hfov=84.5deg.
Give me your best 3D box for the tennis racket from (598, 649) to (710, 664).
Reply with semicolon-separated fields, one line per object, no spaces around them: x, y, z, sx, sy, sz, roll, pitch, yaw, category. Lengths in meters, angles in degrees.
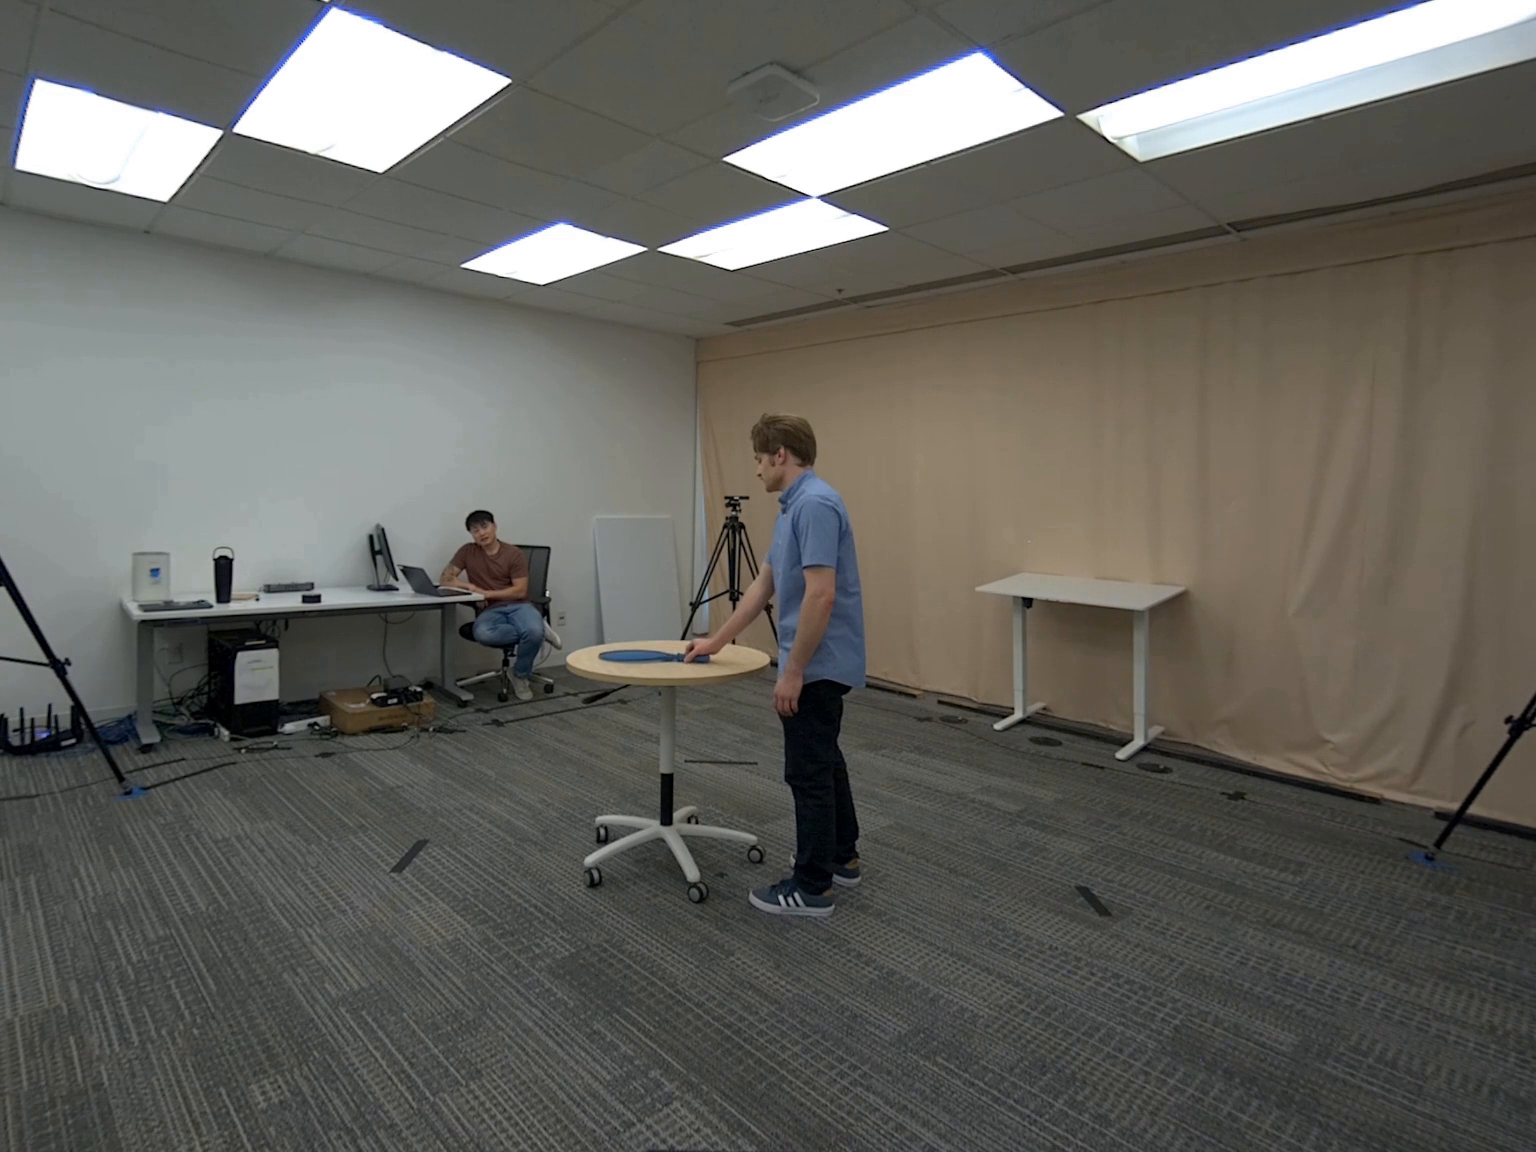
-0.429;0.303;3.123;0.439;0.032;0.211;1;4;17;tennis racket
